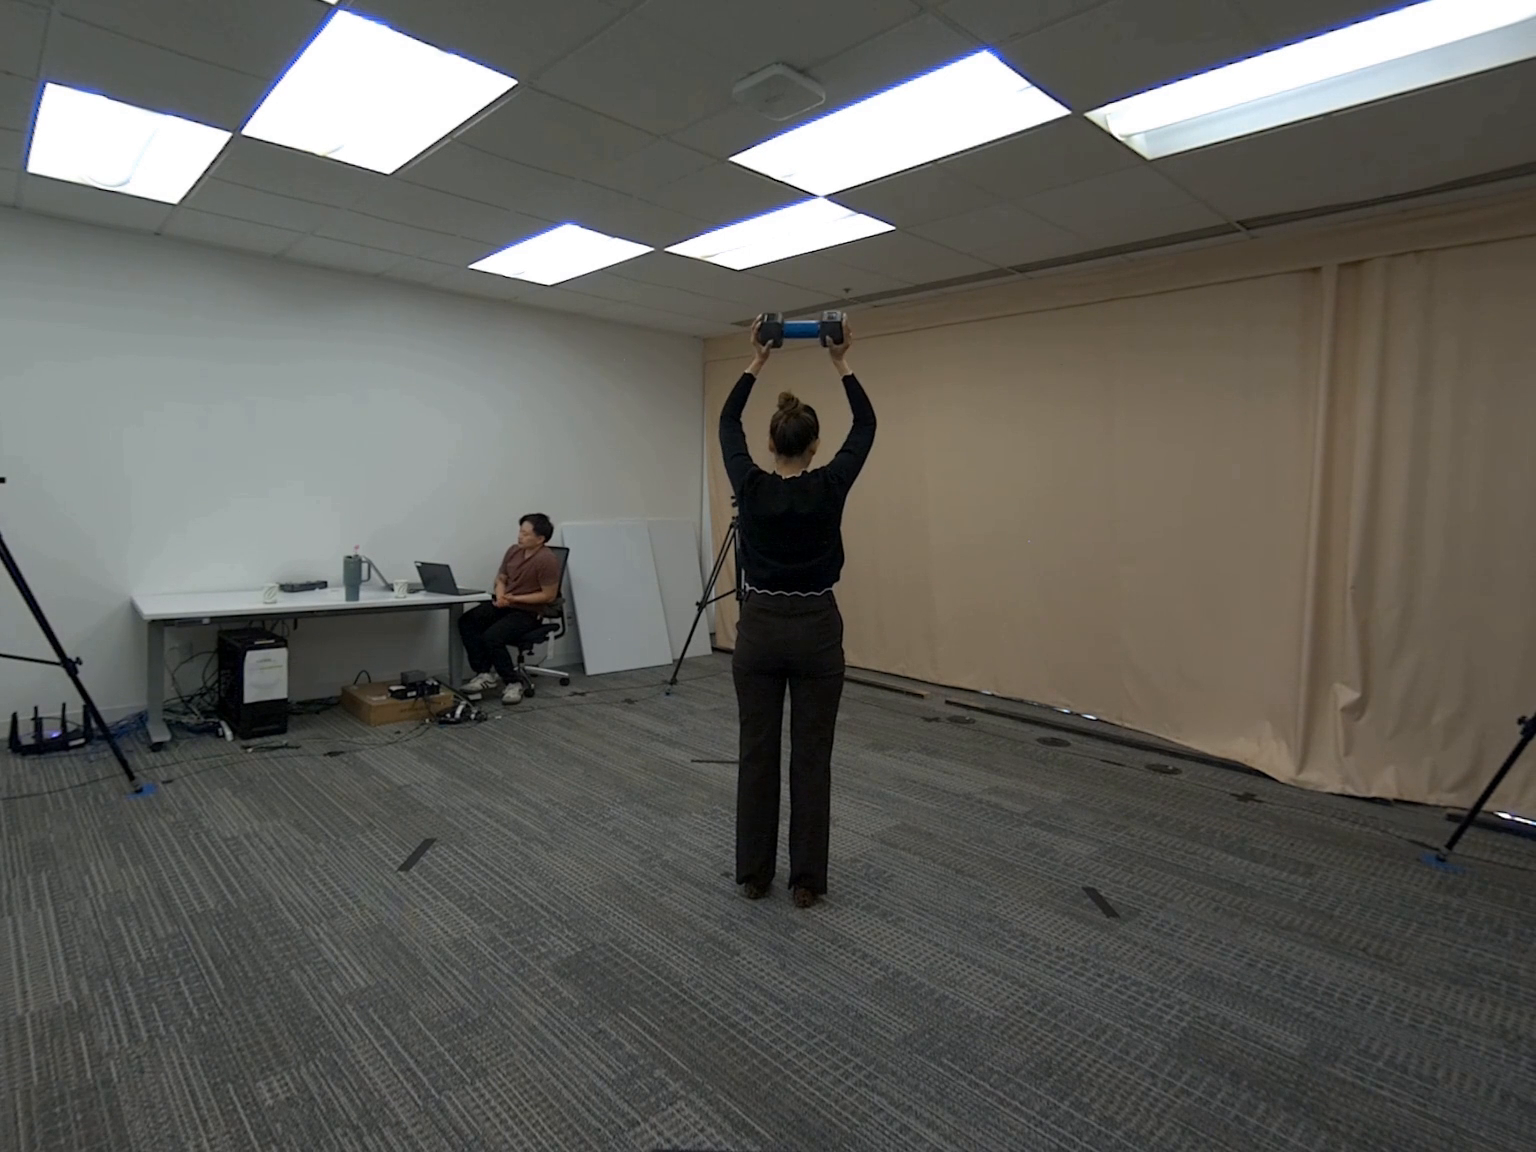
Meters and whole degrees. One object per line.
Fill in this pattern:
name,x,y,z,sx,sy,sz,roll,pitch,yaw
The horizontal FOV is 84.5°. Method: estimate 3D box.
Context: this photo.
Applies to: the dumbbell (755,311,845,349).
dumbbell,0.121,-0.854,2.939,0.296,0.110,0.120,4,-16,11
